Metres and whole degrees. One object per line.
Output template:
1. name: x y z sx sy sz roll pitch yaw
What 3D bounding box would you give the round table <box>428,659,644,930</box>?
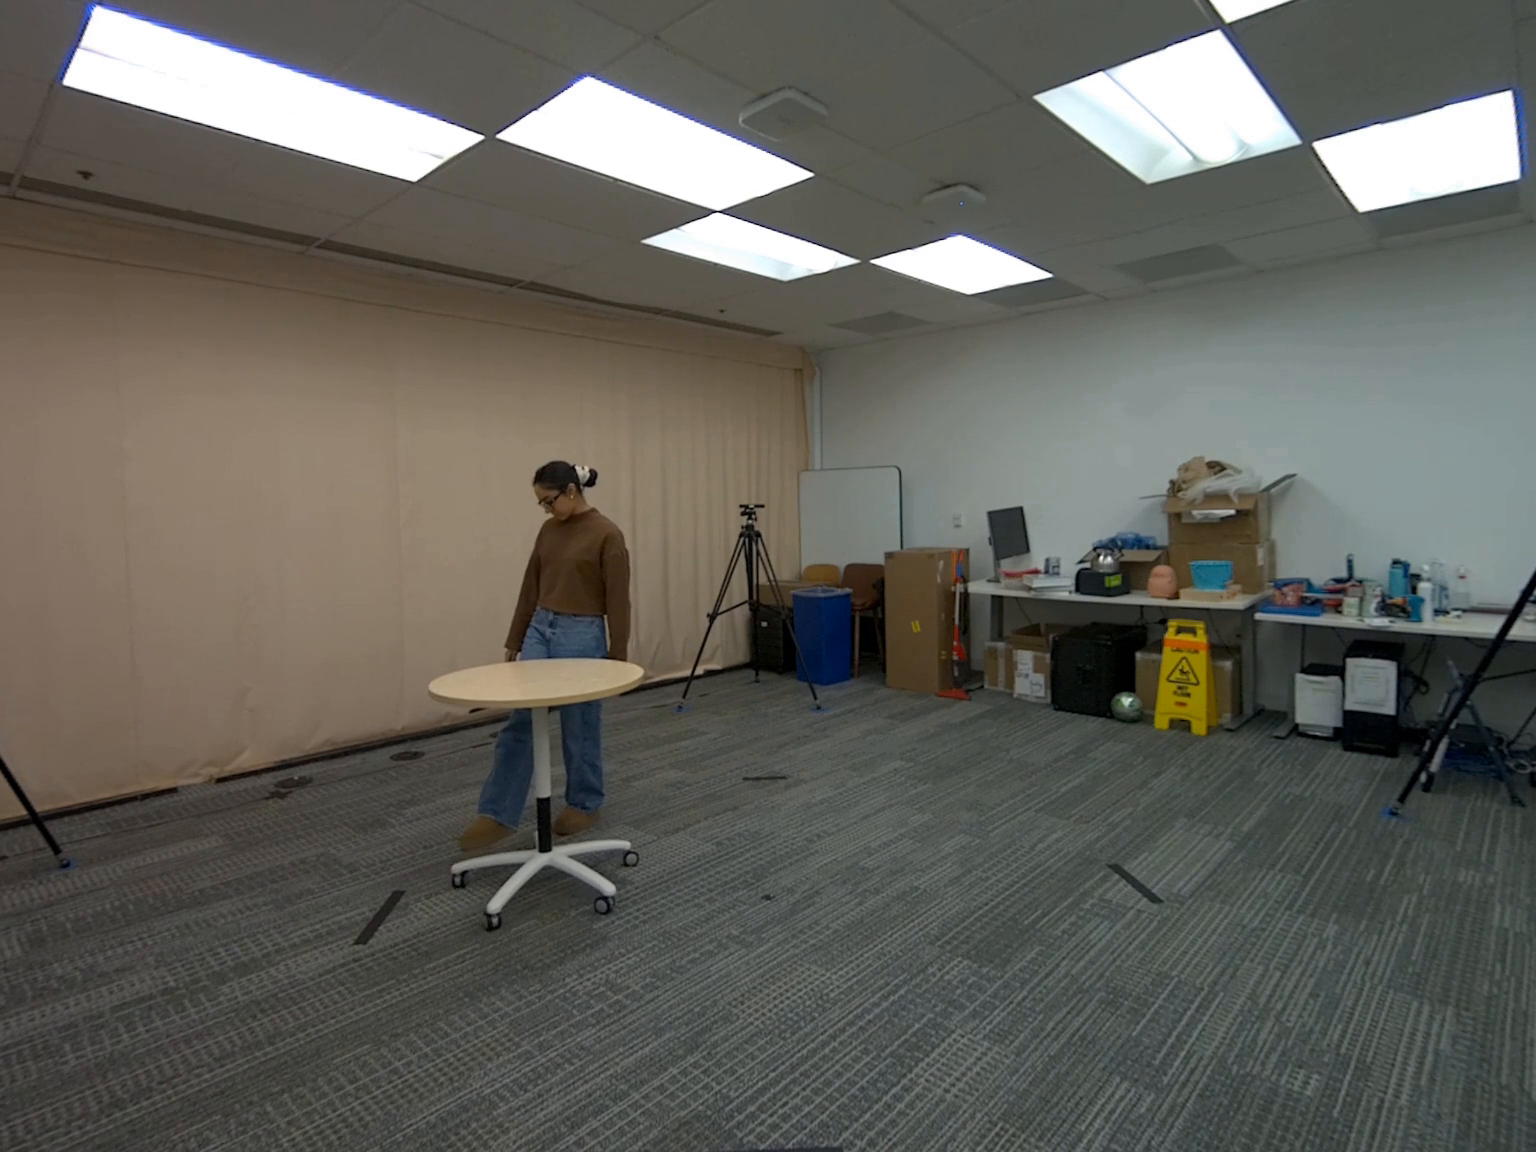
1. round table: -0.821 0.763 3.080 0.763 0.792 0.766 -1 3 -2
